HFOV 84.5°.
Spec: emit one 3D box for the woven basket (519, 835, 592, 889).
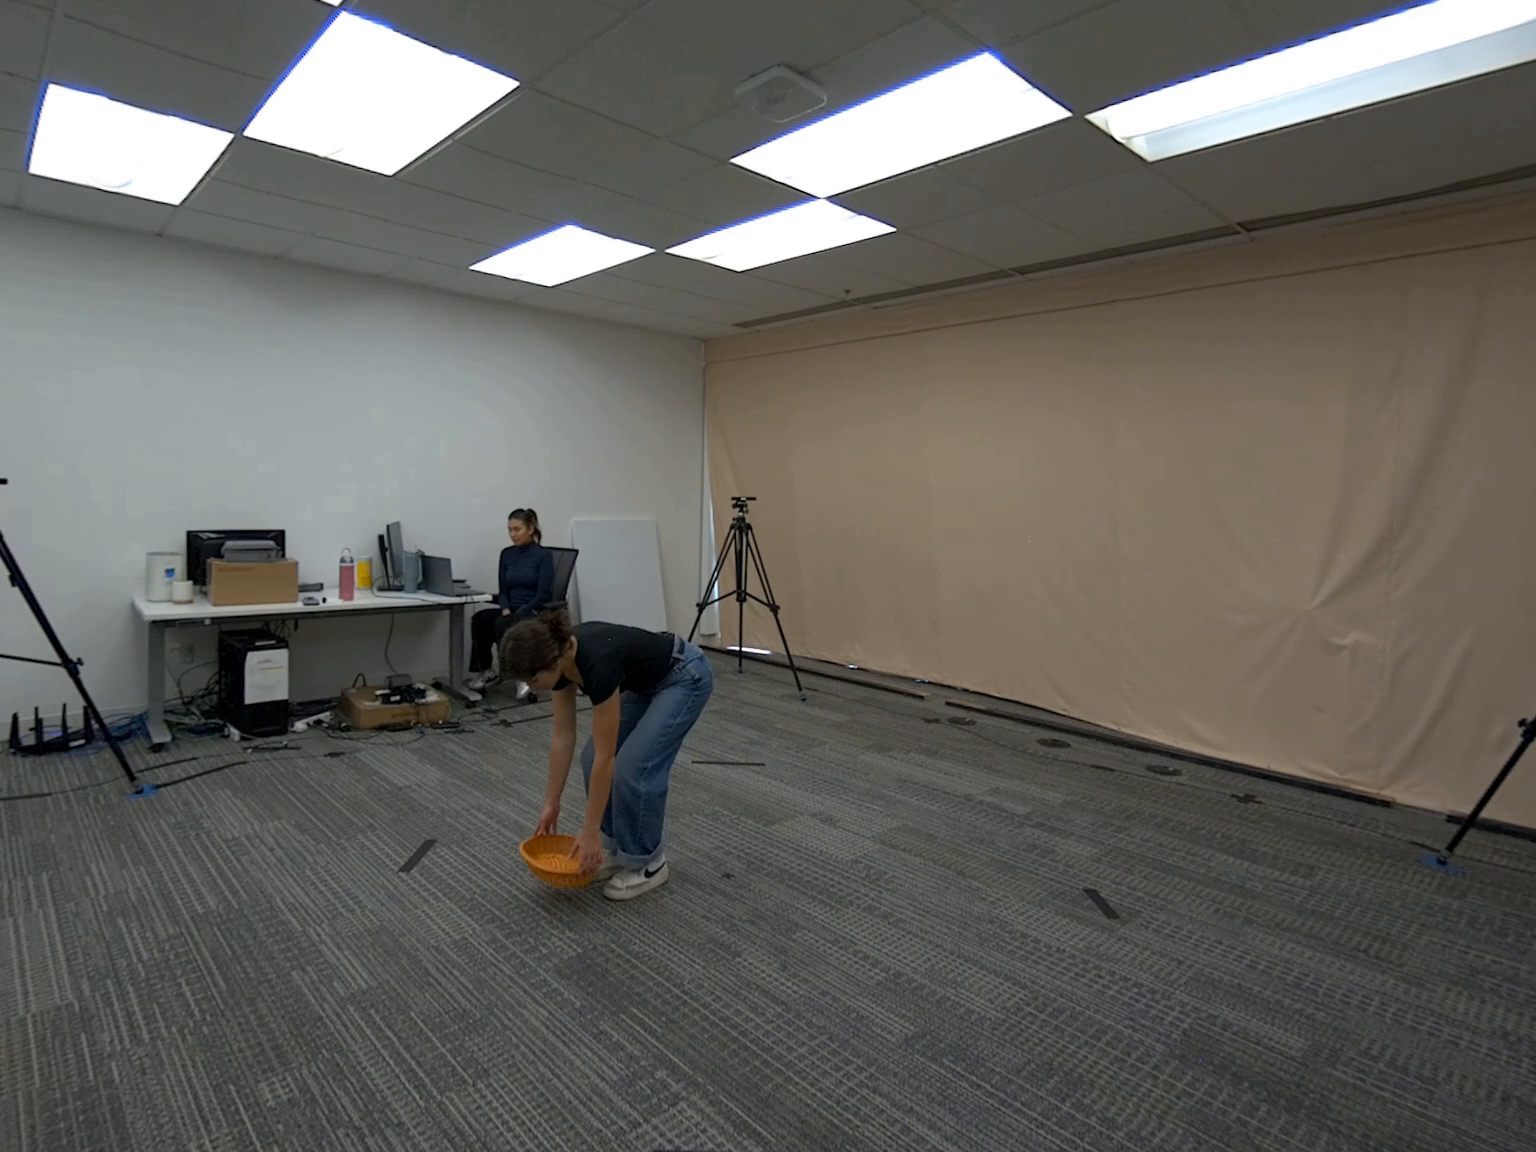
[{"bbox_3d":[-0.721,0.974,2.866,0.246,0.073,0.359,3,2,-39],"label":"woven basket"}]
